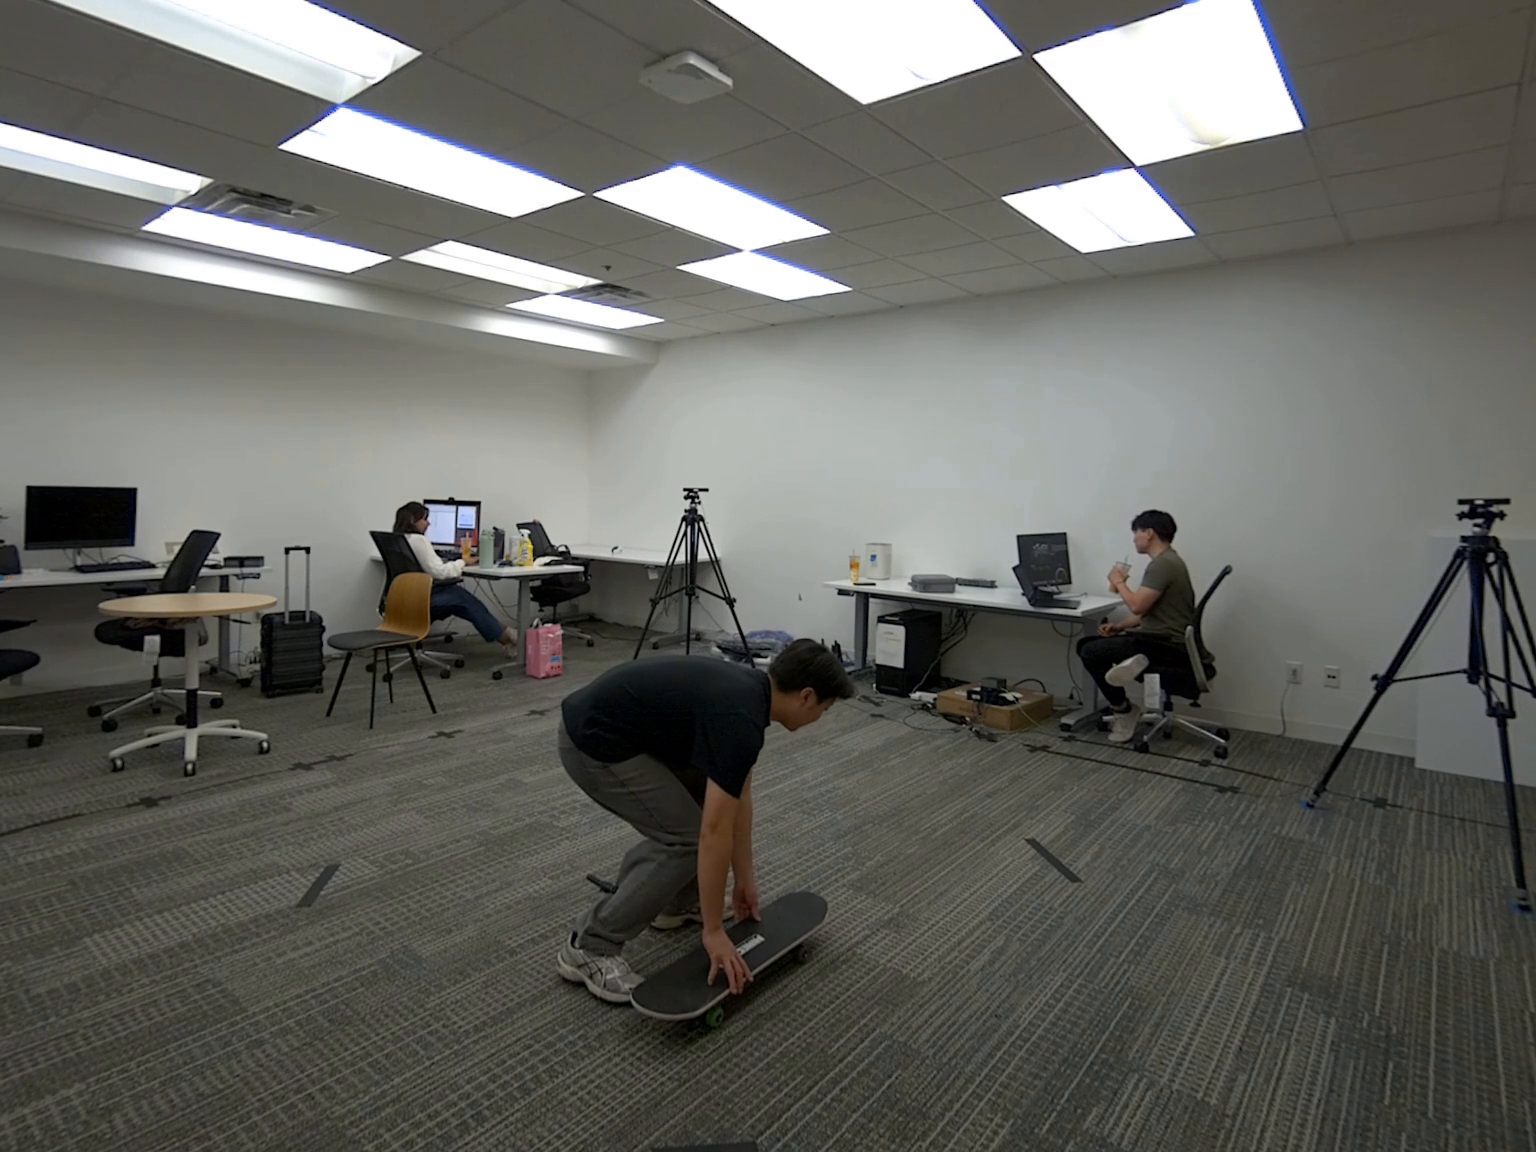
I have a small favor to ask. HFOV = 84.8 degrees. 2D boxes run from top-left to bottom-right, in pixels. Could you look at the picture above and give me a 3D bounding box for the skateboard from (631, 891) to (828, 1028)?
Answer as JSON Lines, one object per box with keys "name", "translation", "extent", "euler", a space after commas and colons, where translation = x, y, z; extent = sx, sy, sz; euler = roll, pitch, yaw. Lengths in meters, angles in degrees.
{"name": "skateboard", "translation": [-0.084, 1.086, 2.403], "extent": [0.200, 0.110, 0.763], "euler": [6, 8, 38]}
